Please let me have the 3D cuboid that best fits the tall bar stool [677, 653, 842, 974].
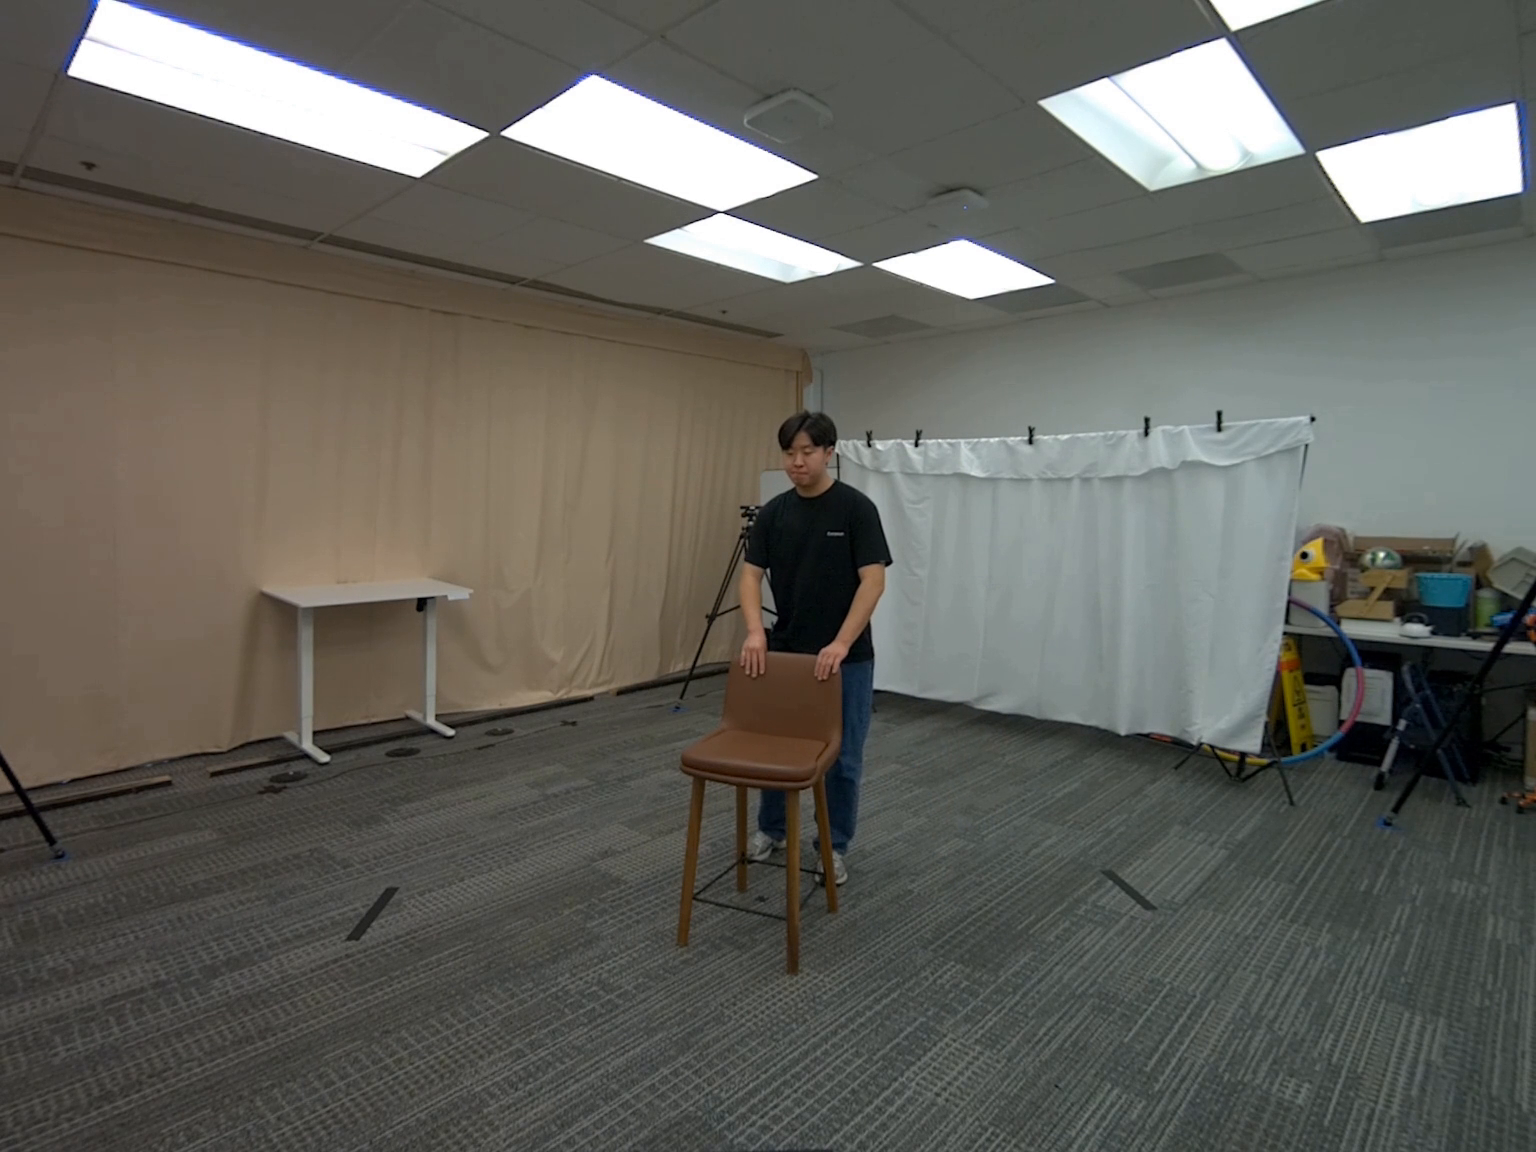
[{"bbox_3d":[-0.011,0.721,2.768,0.468,0.889,0.456,2,2,26],"label":"tall bar stool"}]
